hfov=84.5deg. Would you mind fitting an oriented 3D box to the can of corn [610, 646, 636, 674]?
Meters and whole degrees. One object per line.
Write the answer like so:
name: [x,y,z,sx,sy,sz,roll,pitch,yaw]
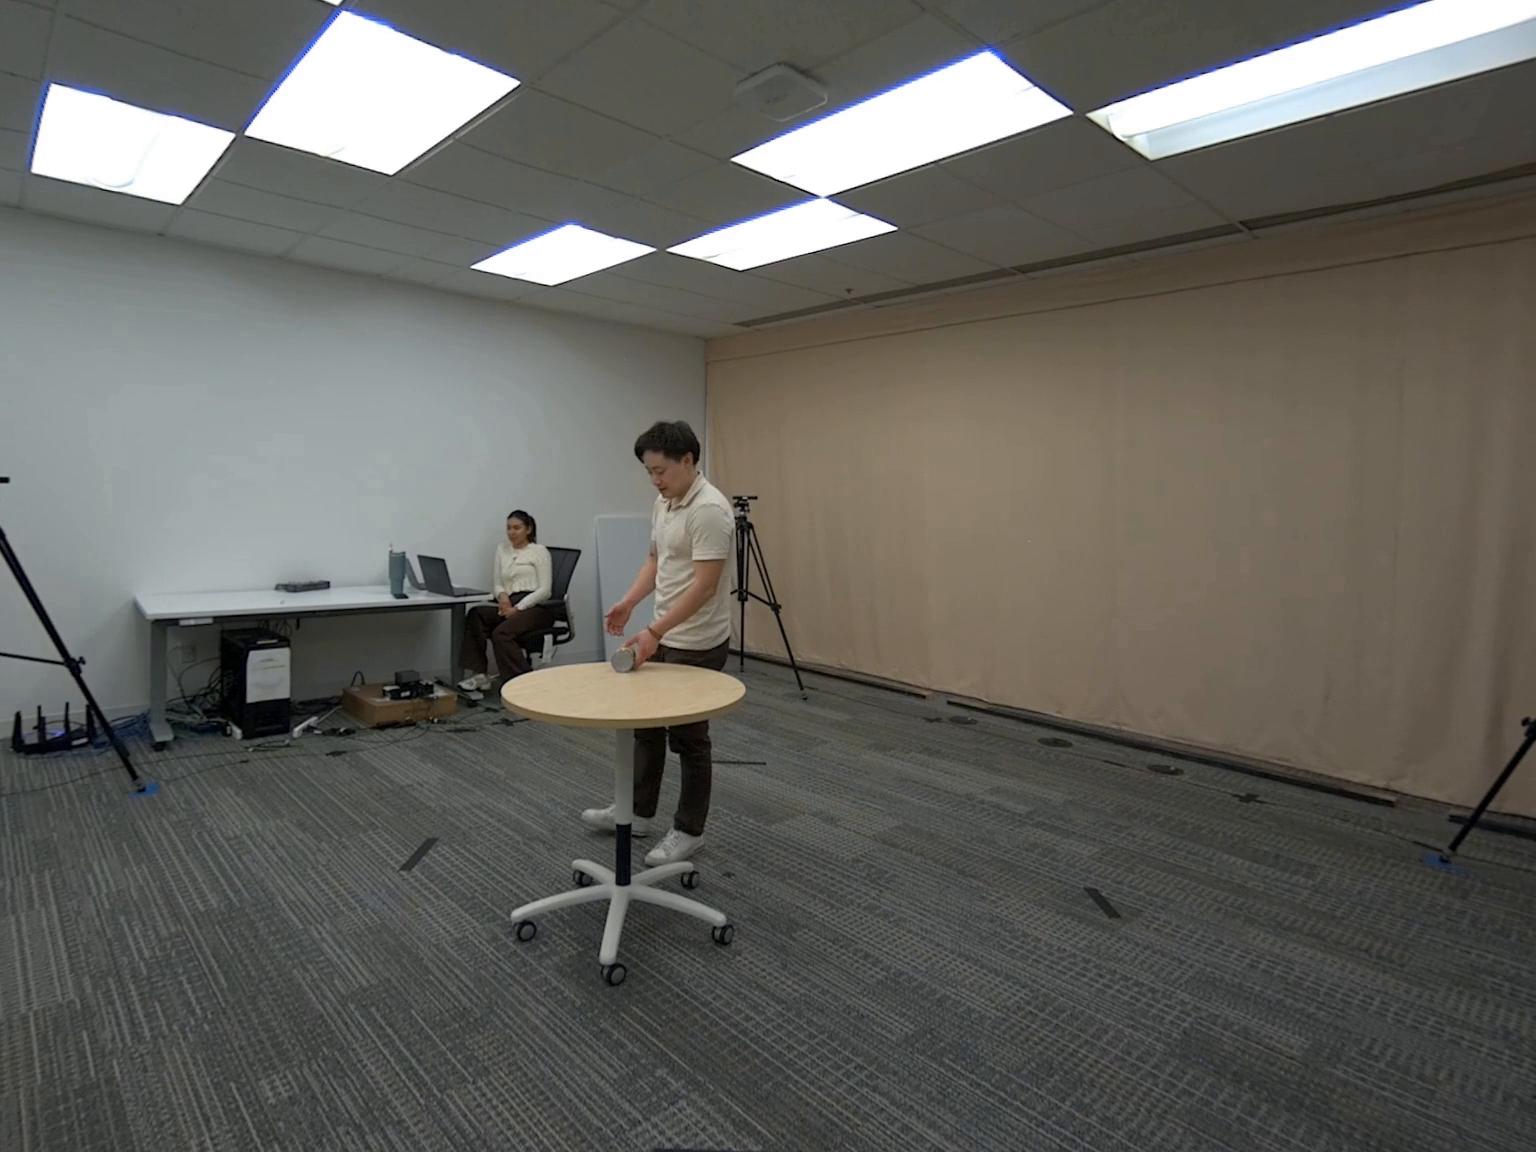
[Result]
can of corn: [-0.511,0.287,2.934,0.074,0.074,0.111,2,4,5]
